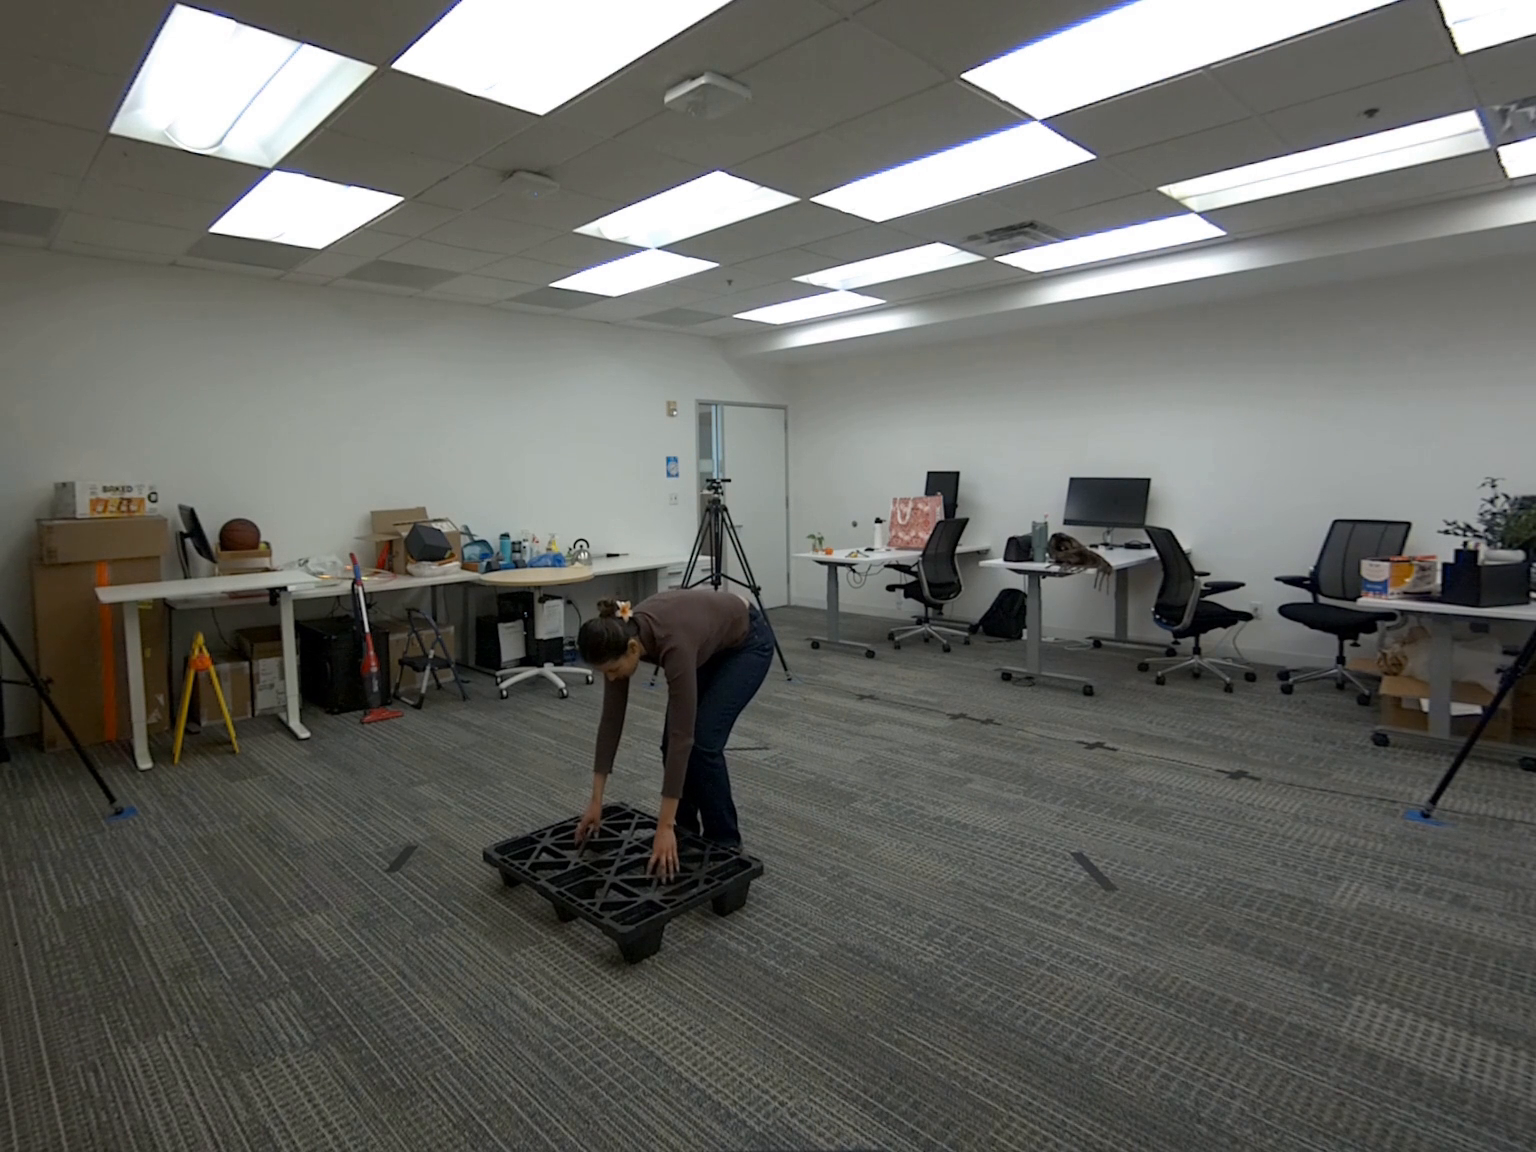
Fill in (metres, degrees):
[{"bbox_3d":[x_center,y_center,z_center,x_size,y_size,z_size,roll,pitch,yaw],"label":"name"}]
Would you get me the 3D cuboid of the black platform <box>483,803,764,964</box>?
[{"bbox_3d":[-0.497,1.009,2.896,0.831,0.142,0.589,5,9,44],"label":"black platform"}]
